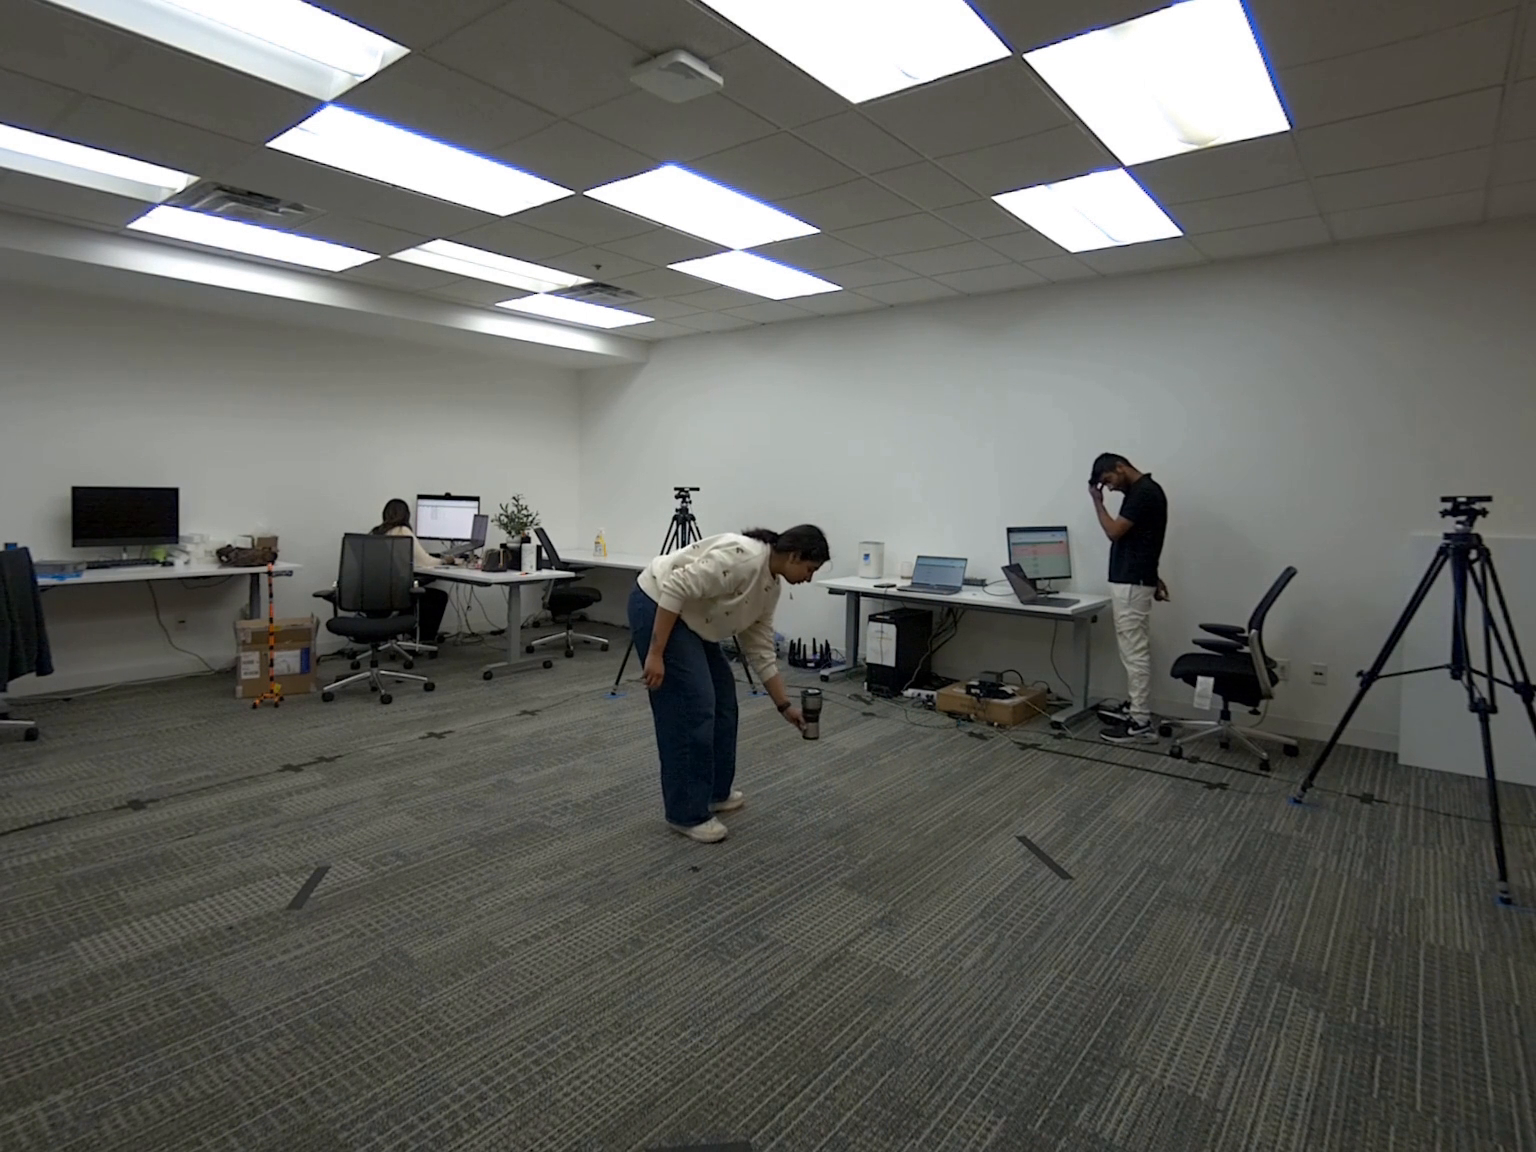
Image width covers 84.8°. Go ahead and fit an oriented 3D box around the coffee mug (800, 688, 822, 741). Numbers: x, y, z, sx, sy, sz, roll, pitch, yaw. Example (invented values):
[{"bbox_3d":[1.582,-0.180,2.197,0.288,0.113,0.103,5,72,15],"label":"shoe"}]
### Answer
[{"bbox_3d":[0.182,0.579,3.580,0.091,0.202,0.118,1,5,40],"label":"coffee mug"}]
